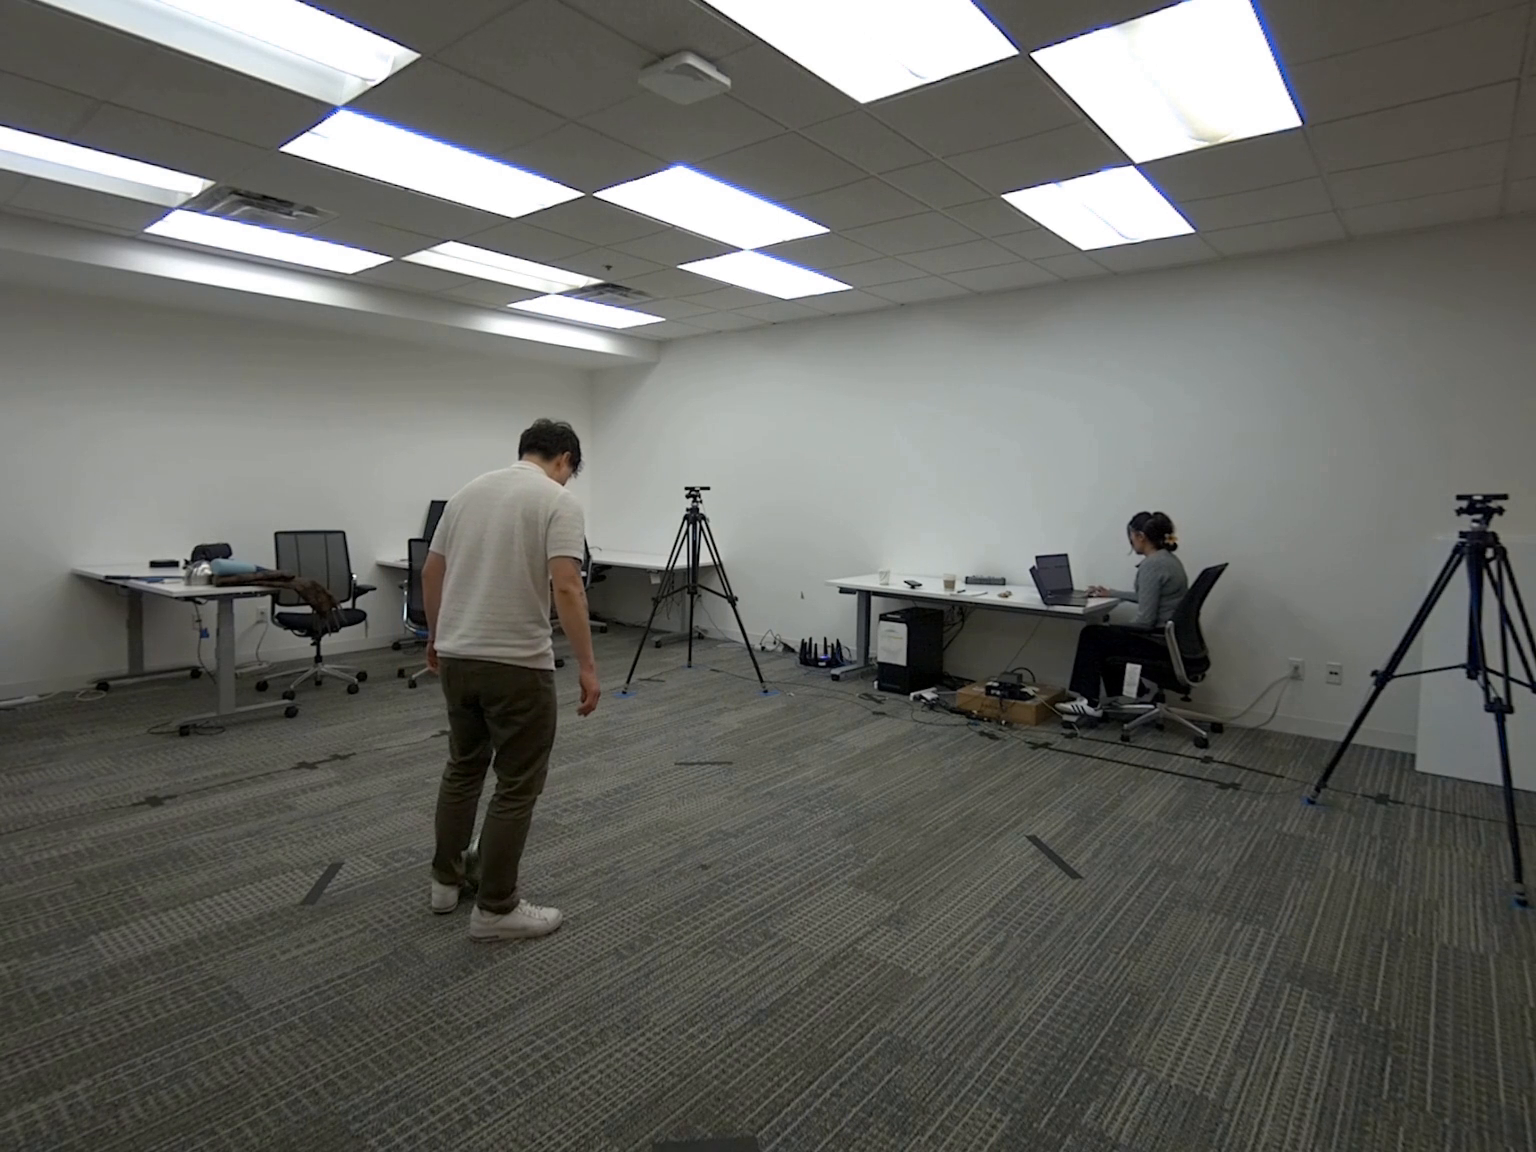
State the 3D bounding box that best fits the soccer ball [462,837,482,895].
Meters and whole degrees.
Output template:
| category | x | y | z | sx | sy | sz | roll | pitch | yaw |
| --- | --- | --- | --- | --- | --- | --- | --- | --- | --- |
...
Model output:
| category | x | y | z | sx | sy | sz | roll | pitch | yaw |
| --- | --- | --- | --- | --- | --- | --- | --- | --- | --- |
| soccer ball | -0.959 | 0.976 | 2.937 | 0.187 | 0.187 | 0.188 | 0 | 4 | -2 |
